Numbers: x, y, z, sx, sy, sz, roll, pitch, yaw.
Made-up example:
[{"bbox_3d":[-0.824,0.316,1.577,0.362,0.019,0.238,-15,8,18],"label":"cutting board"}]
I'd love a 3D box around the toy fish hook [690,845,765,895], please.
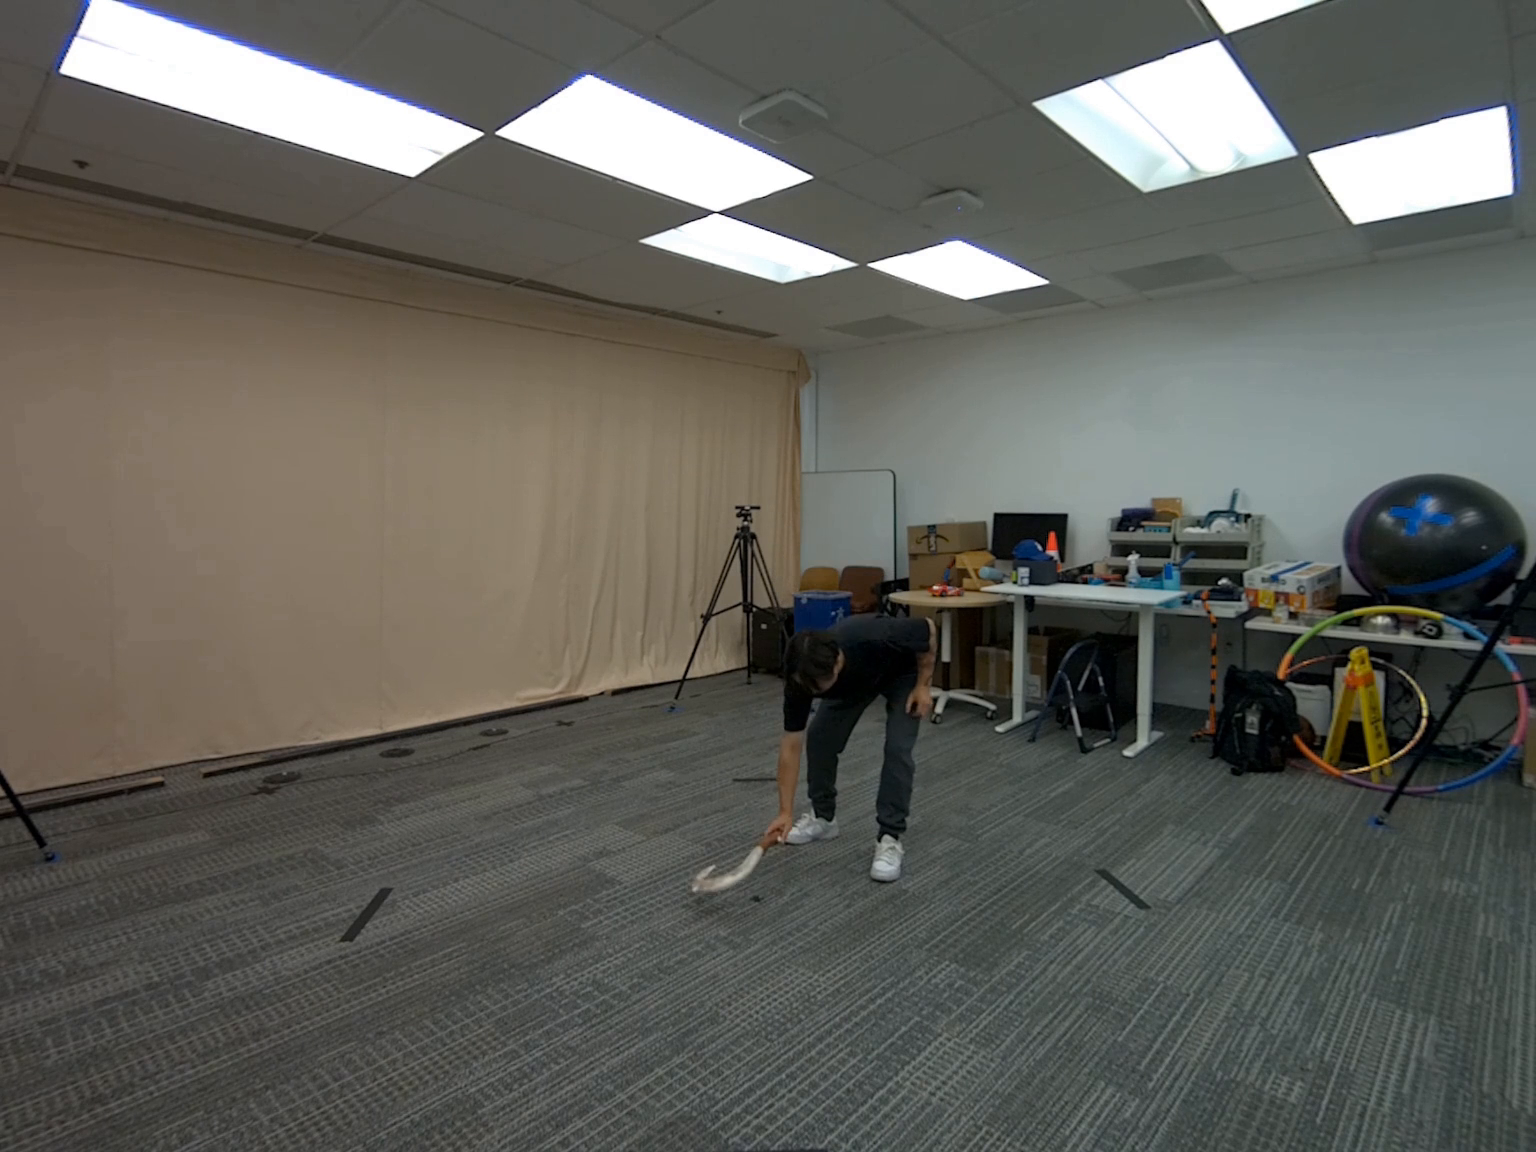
[{"bbox_3d":[-0.092,1.011,3.055,0.230,0.048,0.494,-14,1,32],"label":"toy fish hook"}]
